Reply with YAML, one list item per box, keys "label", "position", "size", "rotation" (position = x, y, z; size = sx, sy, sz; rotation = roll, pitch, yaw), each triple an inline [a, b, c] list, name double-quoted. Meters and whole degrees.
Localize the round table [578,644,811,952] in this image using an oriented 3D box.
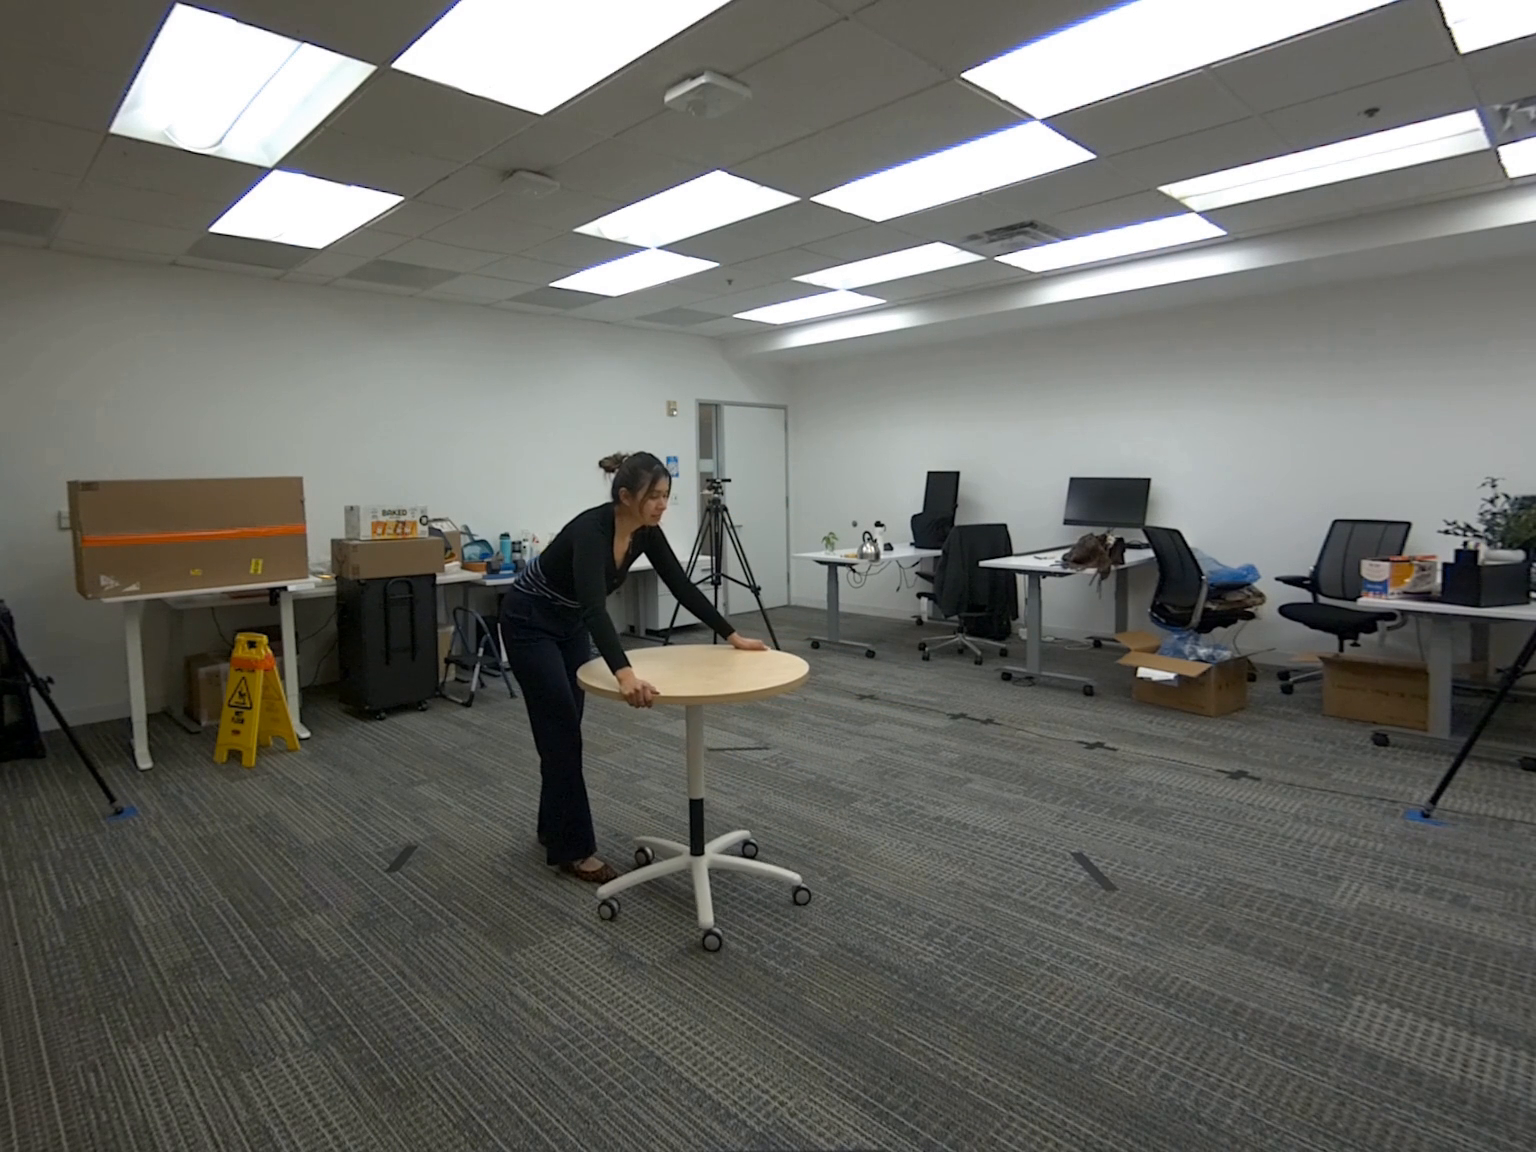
- label: "round table"
  position: [-0.224, 0.692, 2.855]
  size: [0.763, 0.791, 0.768]
  rotation: [-1, 5, -2]
